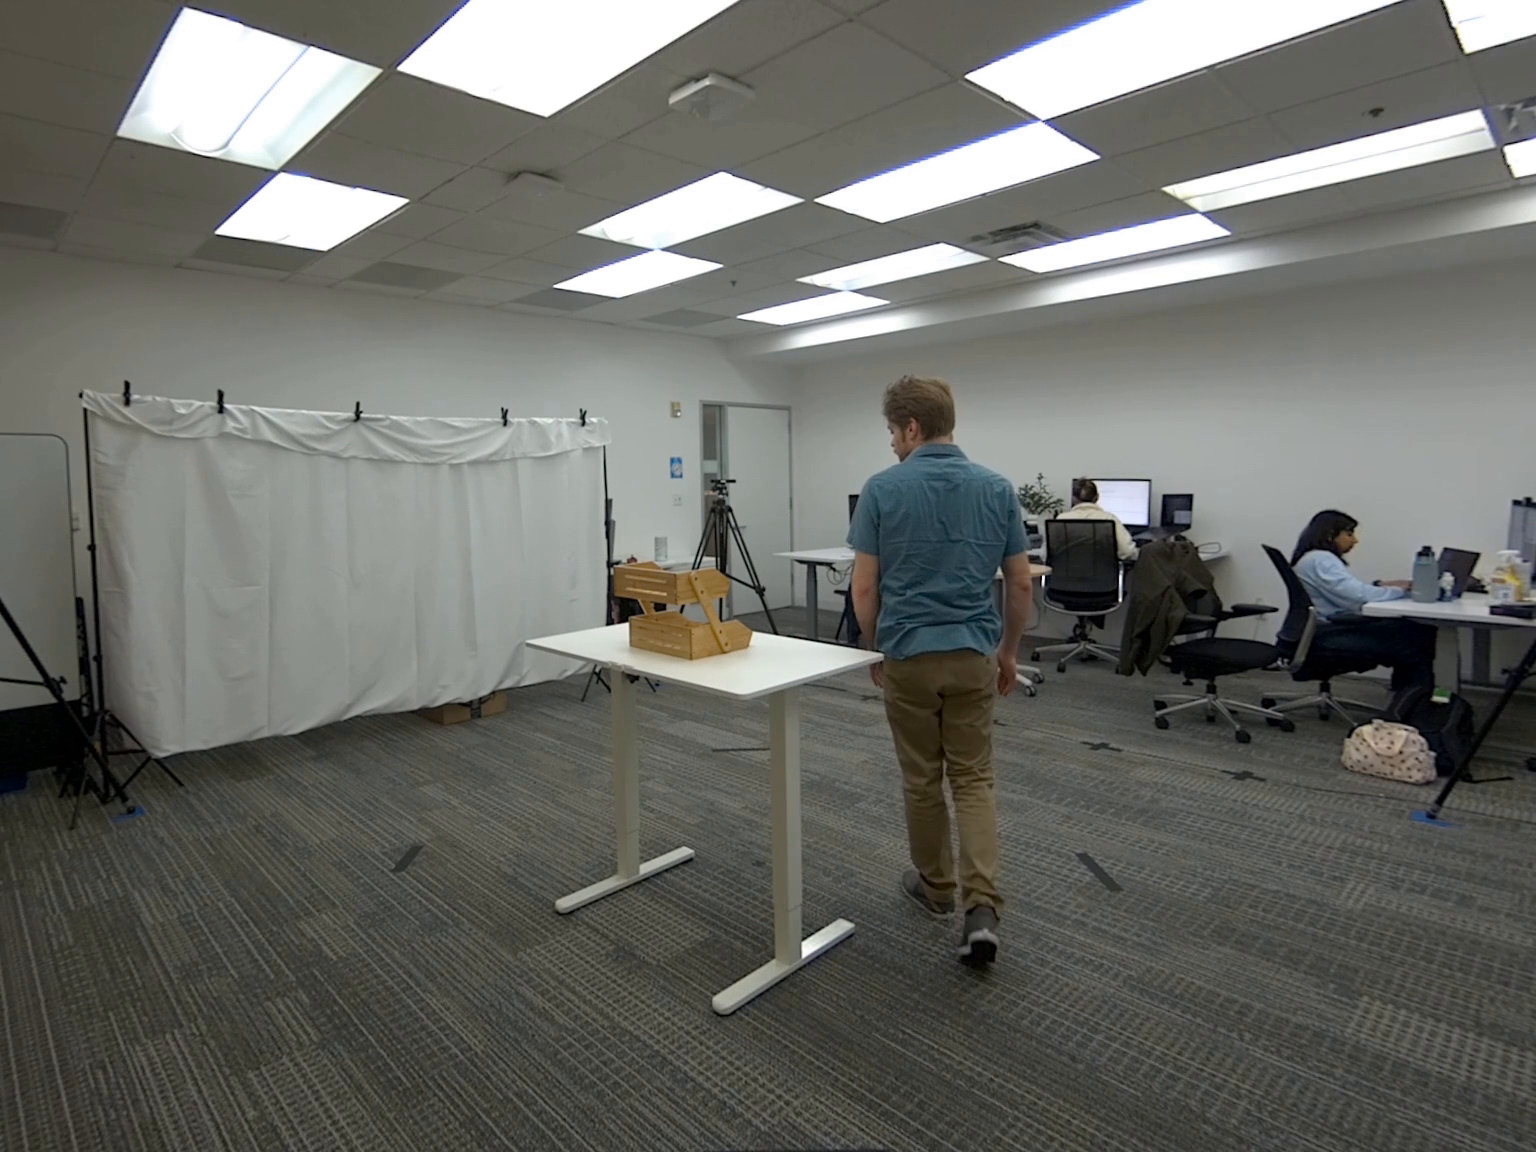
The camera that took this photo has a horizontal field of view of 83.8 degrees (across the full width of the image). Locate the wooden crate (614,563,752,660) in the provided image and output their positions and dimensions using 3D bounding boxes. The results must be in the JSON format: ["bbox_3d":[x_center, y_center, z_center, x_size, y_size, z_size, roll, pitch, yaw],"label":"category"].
[{"bbox_3d":[-0.255,0.090,2.631,0.334,0.272,0.294,5,9,45],"label":"wooden crate"}]
